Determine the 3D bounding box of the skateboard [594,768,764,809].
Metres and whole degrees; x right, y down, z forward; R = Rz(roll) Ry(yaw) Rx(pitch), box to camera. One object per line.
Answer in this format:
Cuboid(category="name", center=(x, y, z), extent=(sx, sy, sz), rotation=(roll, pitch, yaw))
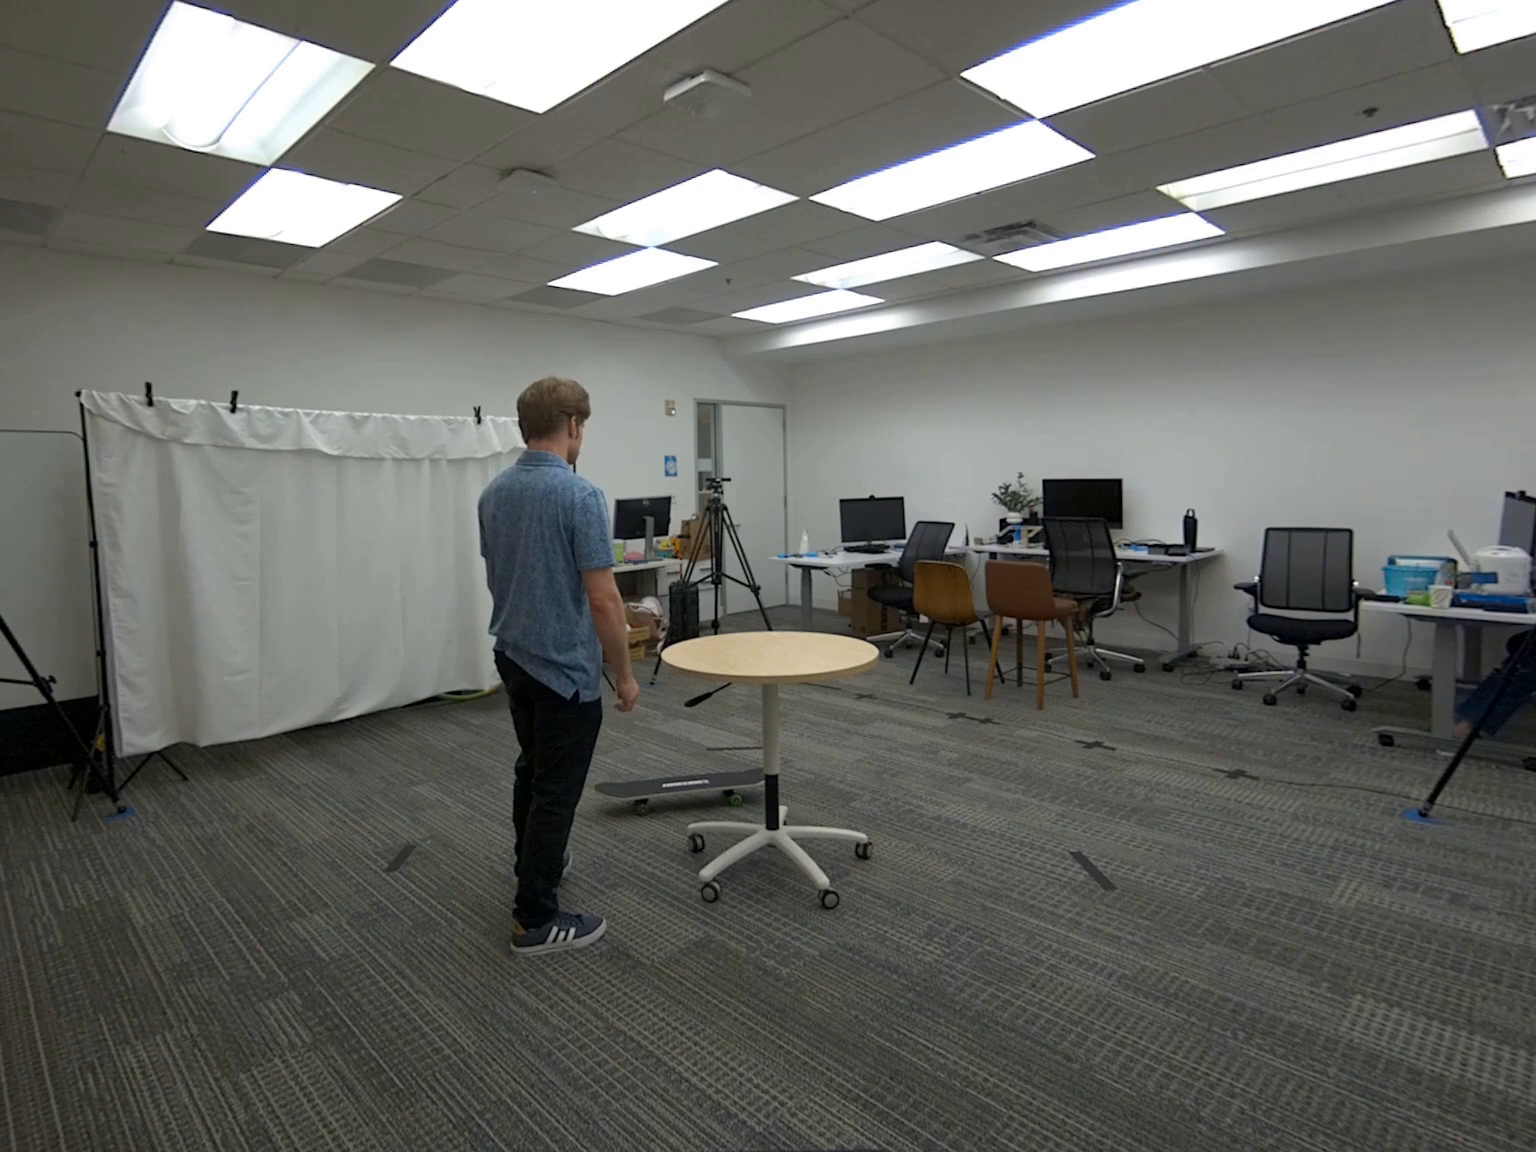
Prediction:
Cuboid(category="skateboard", center=(-0.353, 0.926, 3.682), extent=(0.776, 0.110, 0.196), rotation=(-3, 5, -13))
